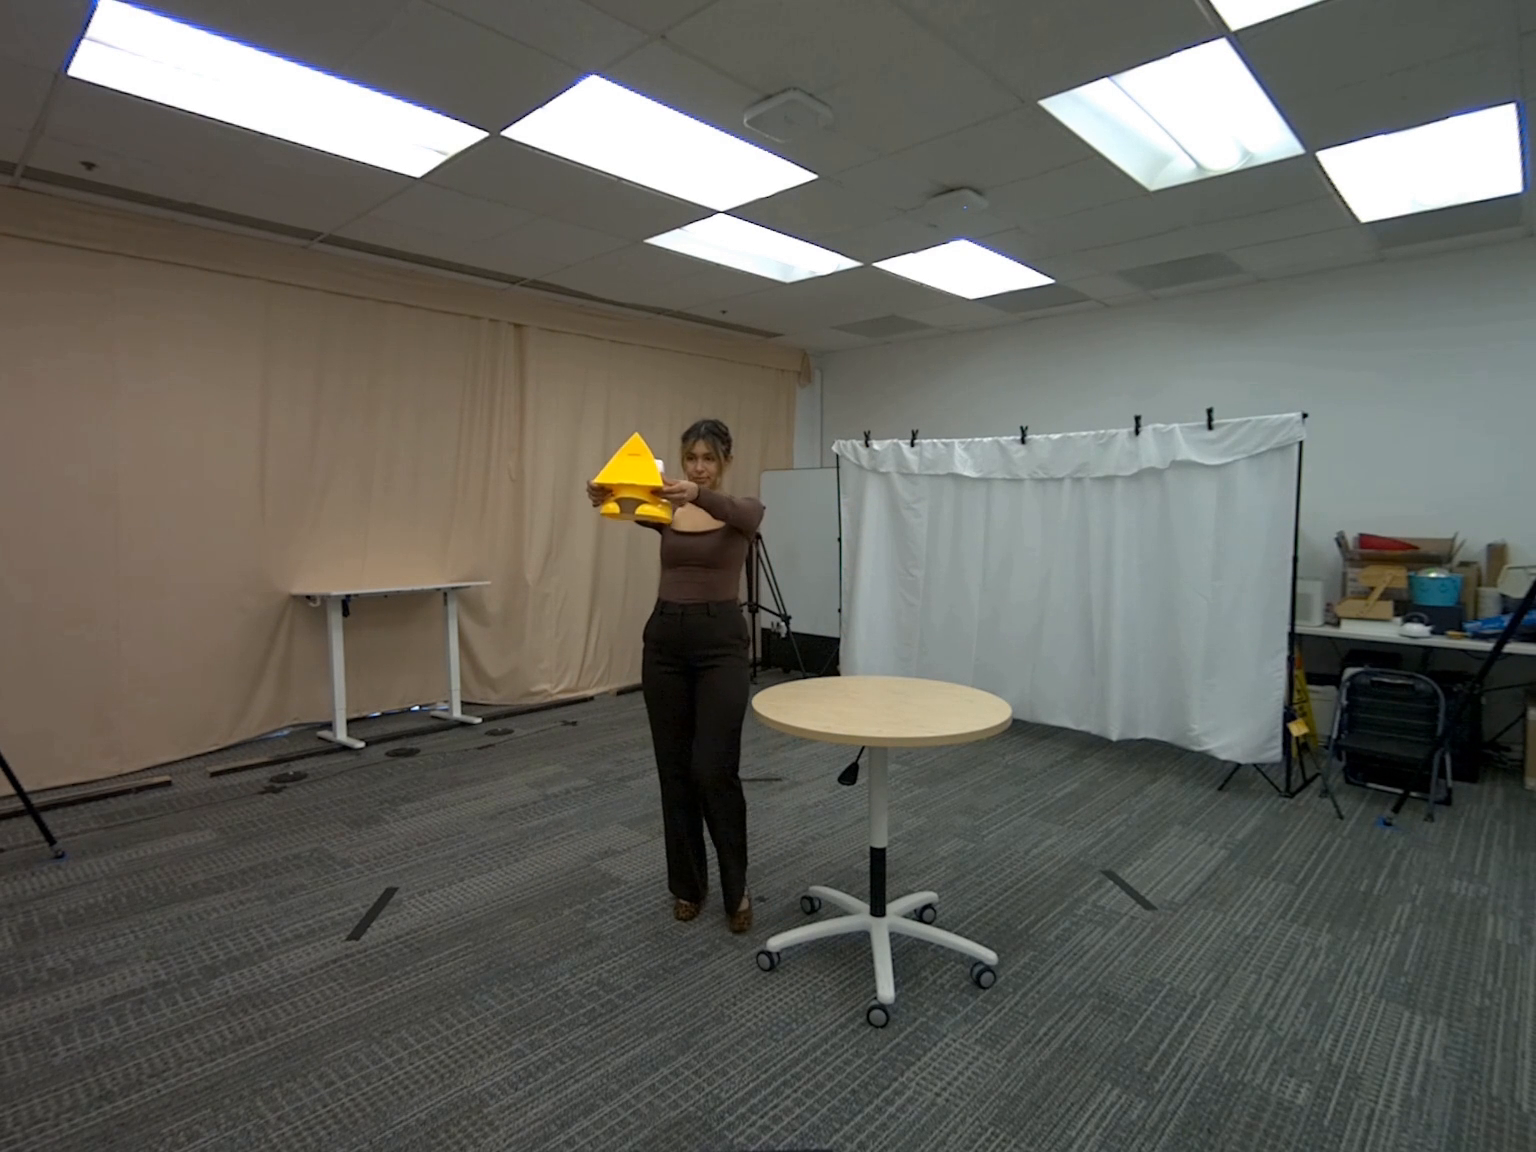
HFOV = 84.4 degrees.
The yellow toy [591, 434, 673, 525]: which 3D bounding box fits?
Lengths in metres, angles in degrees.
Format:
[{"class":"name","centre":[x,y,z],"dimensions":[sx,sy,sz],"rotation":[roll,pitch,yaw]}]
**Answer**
[{"class":"yellow toy","centre":[-0.364,-0.281,2.384],"dimensions":[0.208,0.231,0.189],"rotation":[4,-5,13]}]
